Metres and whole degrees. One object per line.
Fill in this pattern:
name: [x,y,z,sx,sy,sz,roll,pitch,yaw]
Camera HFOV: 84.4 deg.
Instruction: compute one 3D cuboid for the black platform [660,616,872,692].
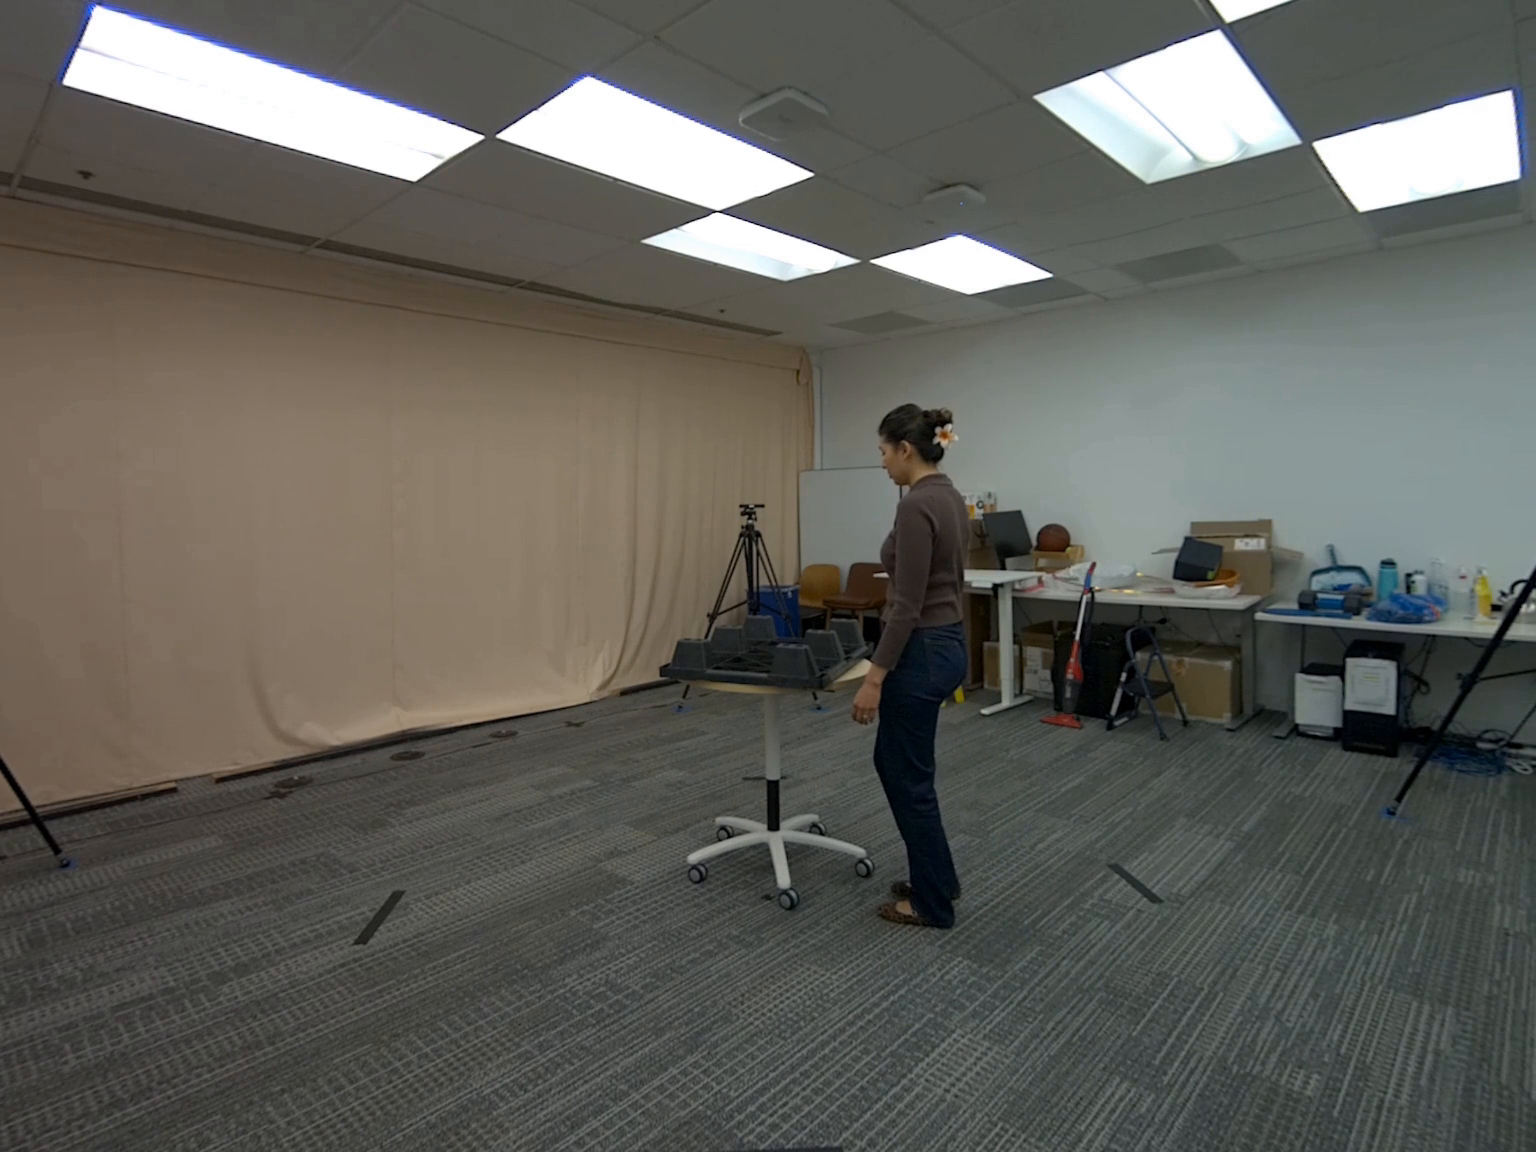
black platform: [0.029,0.272,3.214,0.618,0.143,0.790,1,6,20]
